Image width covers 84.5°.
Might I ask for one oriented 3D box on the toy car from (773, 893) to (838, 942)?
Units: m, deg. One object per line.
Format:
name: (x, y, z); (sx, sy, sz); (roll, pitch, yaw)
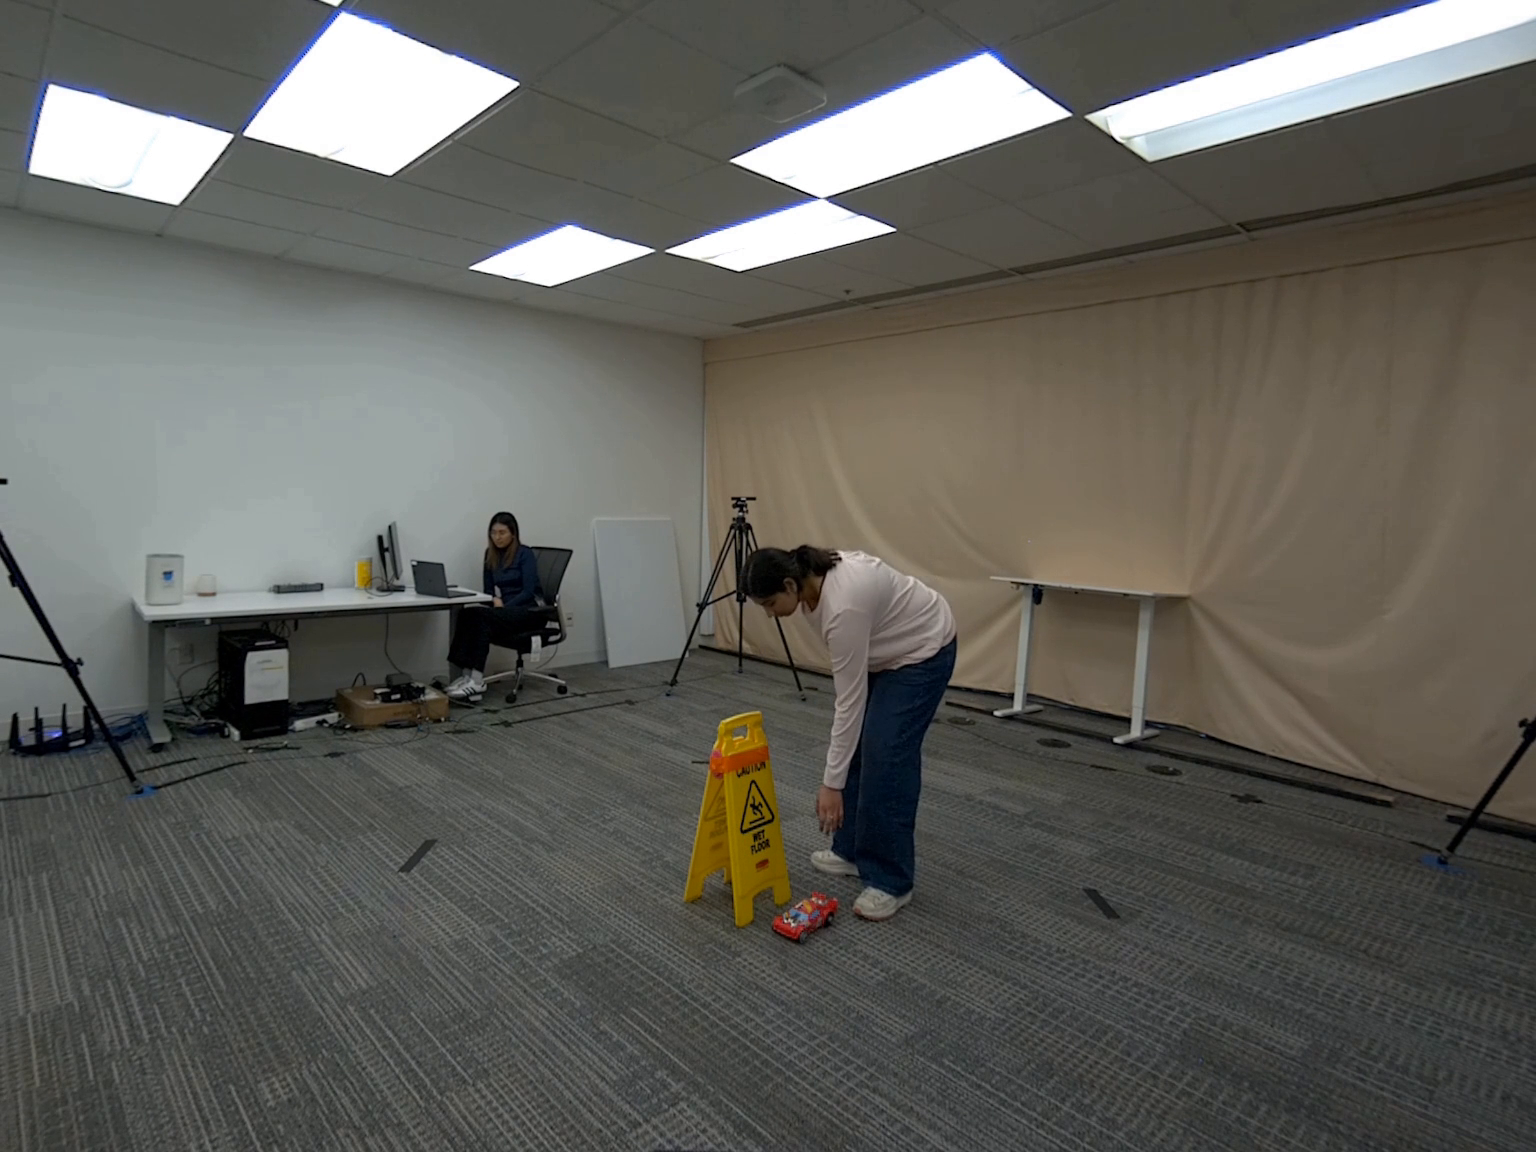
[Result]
toy car: (0.122, 1.115, 2.739); (0.133, 0.082, 0.250); (4, 16, 41)
